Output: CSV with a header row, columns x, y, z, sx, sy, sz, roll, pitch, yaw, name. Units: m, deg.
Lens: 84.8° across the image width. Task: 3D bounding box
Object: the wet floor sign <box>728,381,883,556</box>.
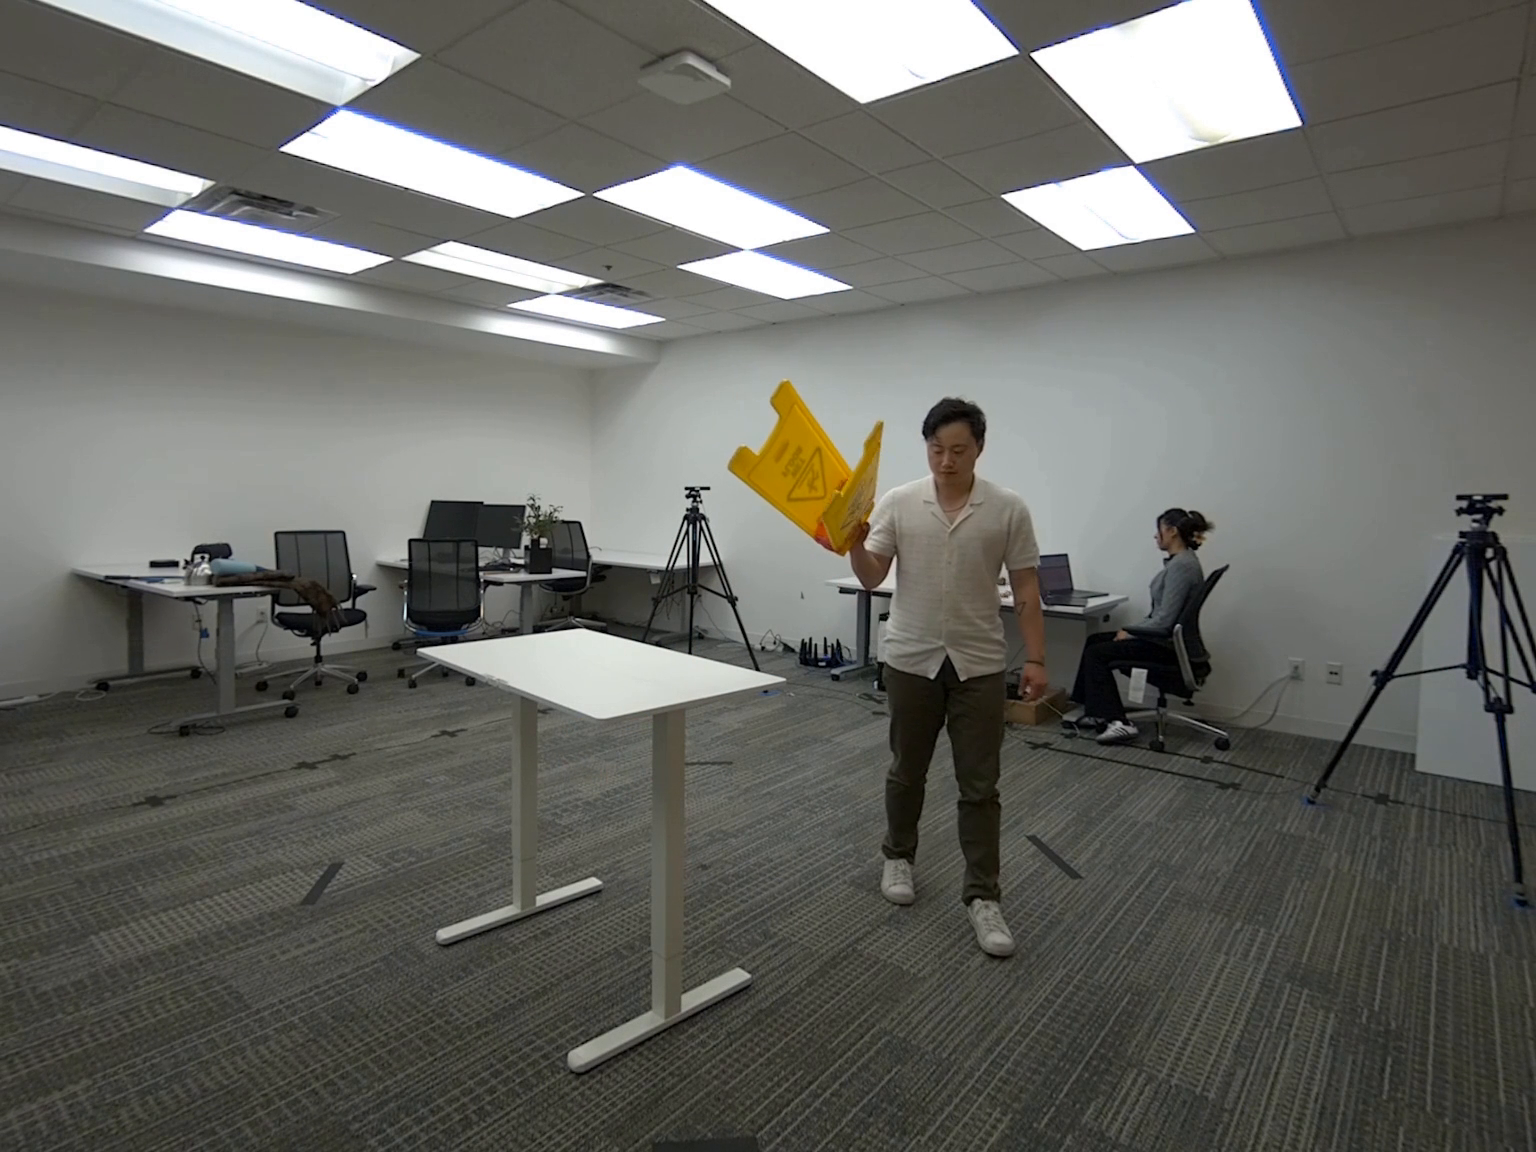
x,y,z,sx,sy,sz,roll,pitch,yaw,name
0.174,-0.236,2.381,0.299,0.282,0.624,30,-6,24,wet floor sign
